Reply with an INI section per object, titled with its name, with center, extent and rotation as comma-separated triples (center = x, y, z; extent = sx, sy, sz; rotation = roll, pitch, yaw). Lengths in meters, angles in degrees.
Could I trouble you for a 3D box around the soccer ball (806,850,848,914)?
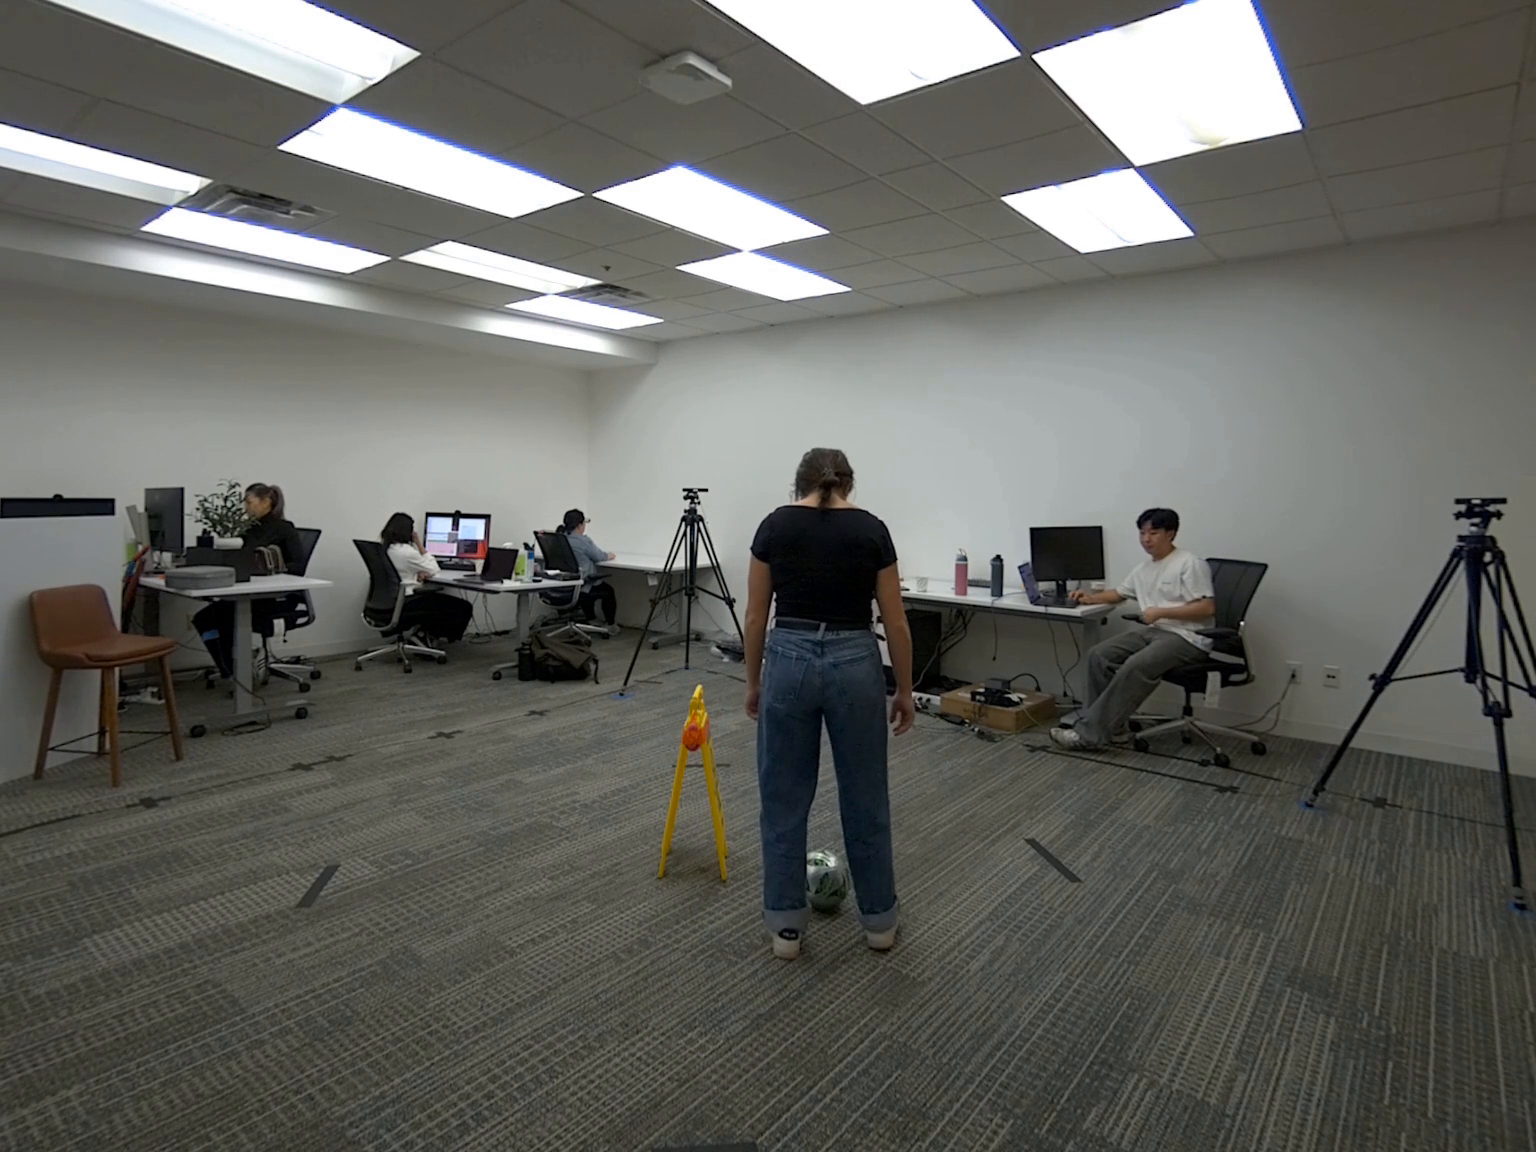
[soccer ball]
center = 0.188, 1.006, 2.848
extent = 0.187, 0.187, 0.188
rotation = 1, 4, -2
